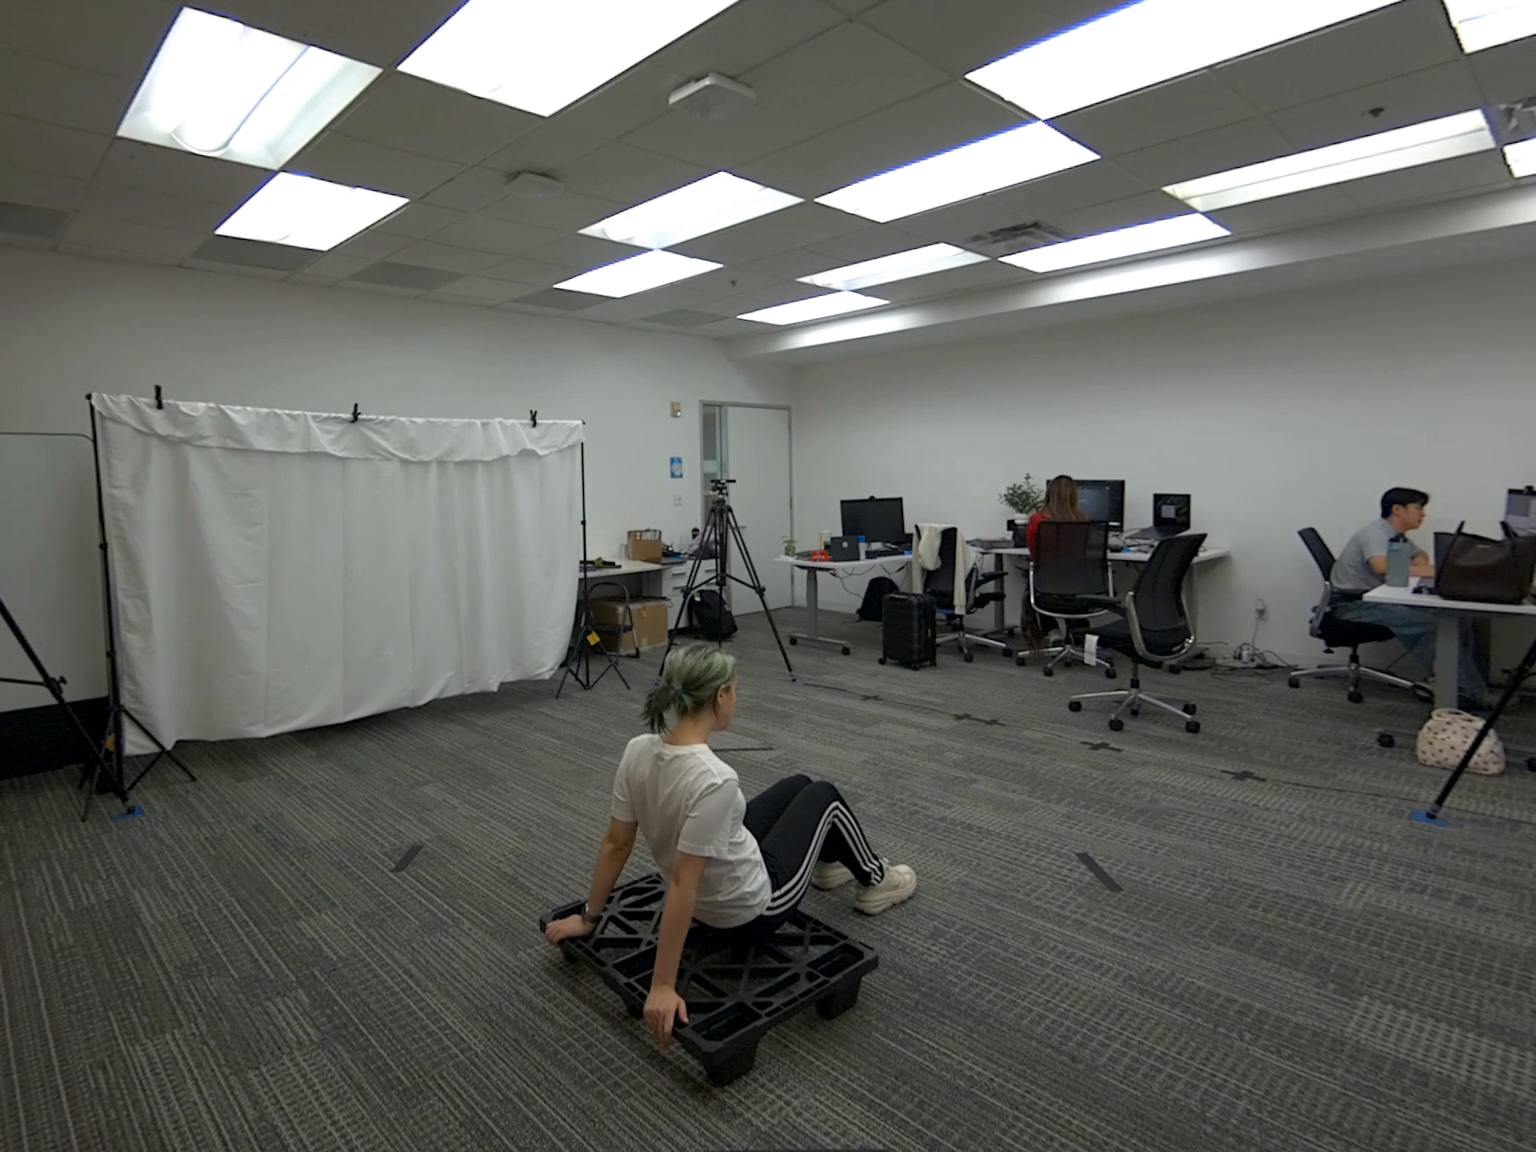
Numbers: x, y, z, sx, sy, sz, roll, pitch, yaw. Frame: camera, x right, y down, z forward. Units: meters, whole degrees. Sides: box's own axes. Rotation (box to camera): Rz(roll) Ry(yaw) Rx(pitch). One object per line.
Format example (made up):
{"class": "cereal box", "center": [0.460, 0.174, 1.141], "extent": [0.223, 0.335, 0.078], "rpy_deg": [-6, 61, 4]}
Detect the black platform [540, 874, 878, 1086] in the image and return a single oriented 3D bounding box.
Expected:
{"class": "black platform", "center": [-0.186, 1.068, 2.397], "extent": [0.589, 0.143, 0.831], "rpy_deg": [-6, 8, -40]}
